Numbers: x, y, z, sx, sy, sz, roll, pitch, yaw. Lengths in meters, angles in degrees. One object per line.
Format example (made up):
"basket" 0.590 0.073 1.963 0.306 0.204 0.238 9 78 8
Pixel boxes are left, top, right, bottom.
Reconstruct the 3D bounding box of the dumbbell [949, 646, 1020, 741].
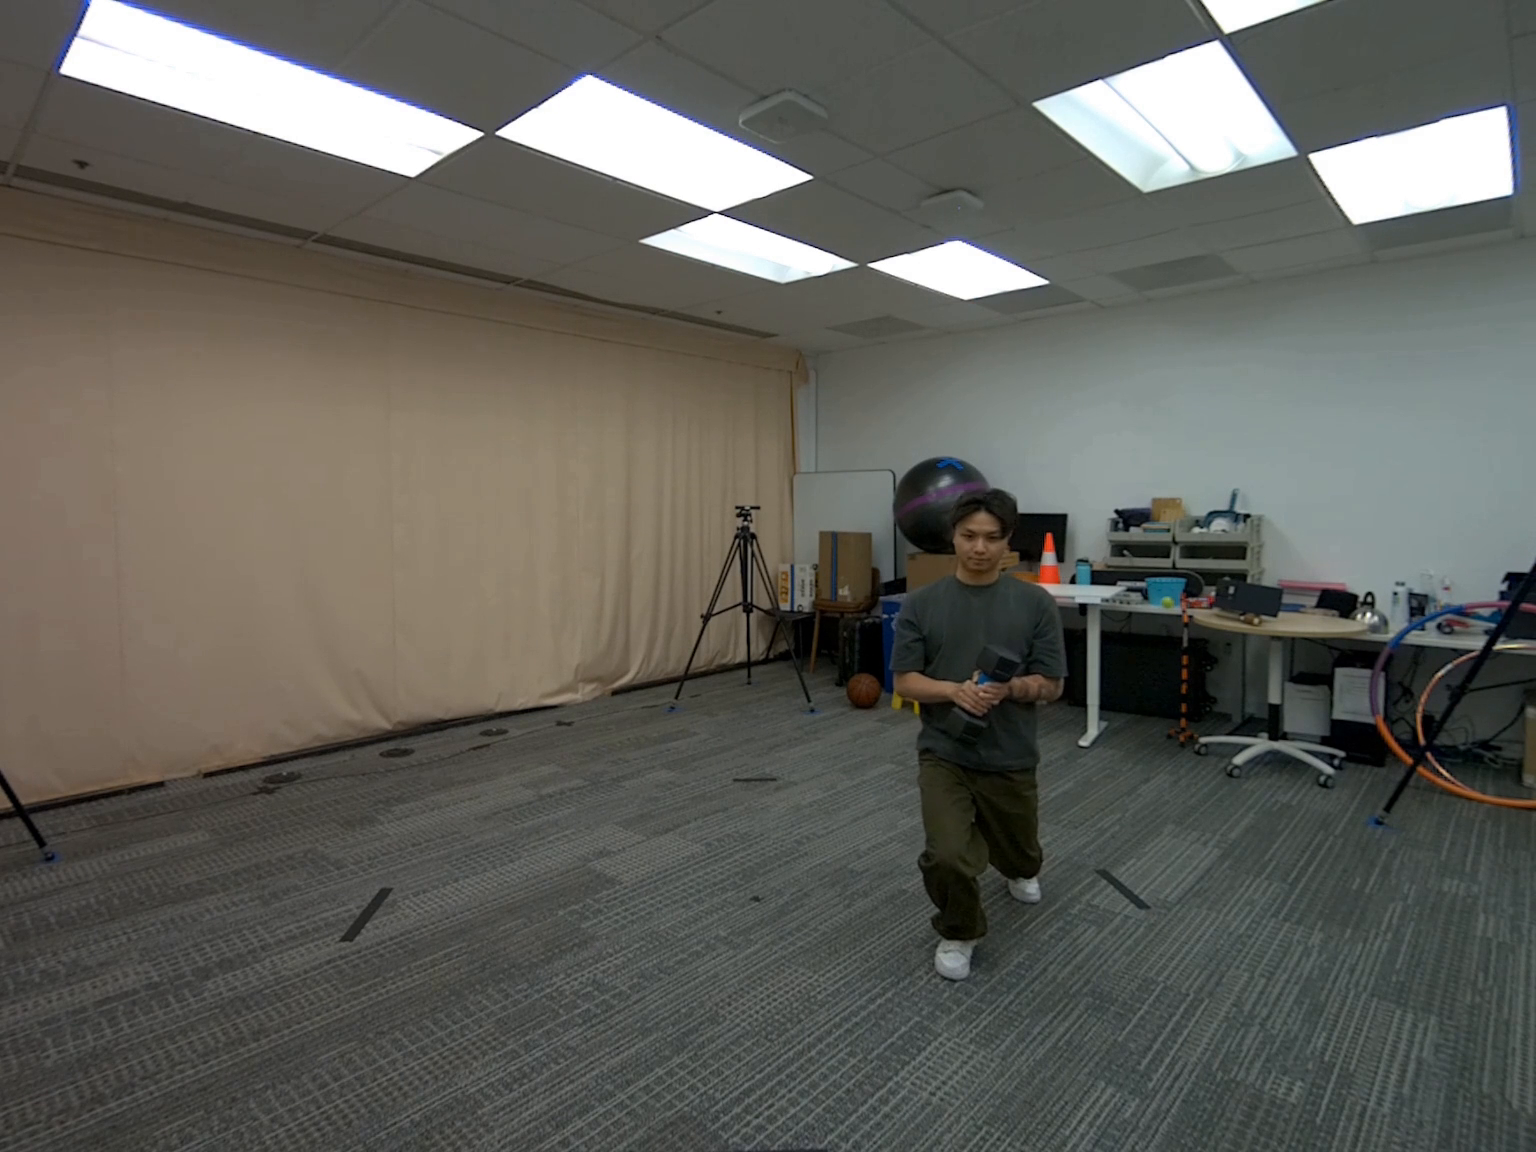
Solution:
"dumbbell" 0.617 0.331 2.435 0.105 0.293 0.127 13 16 -40
